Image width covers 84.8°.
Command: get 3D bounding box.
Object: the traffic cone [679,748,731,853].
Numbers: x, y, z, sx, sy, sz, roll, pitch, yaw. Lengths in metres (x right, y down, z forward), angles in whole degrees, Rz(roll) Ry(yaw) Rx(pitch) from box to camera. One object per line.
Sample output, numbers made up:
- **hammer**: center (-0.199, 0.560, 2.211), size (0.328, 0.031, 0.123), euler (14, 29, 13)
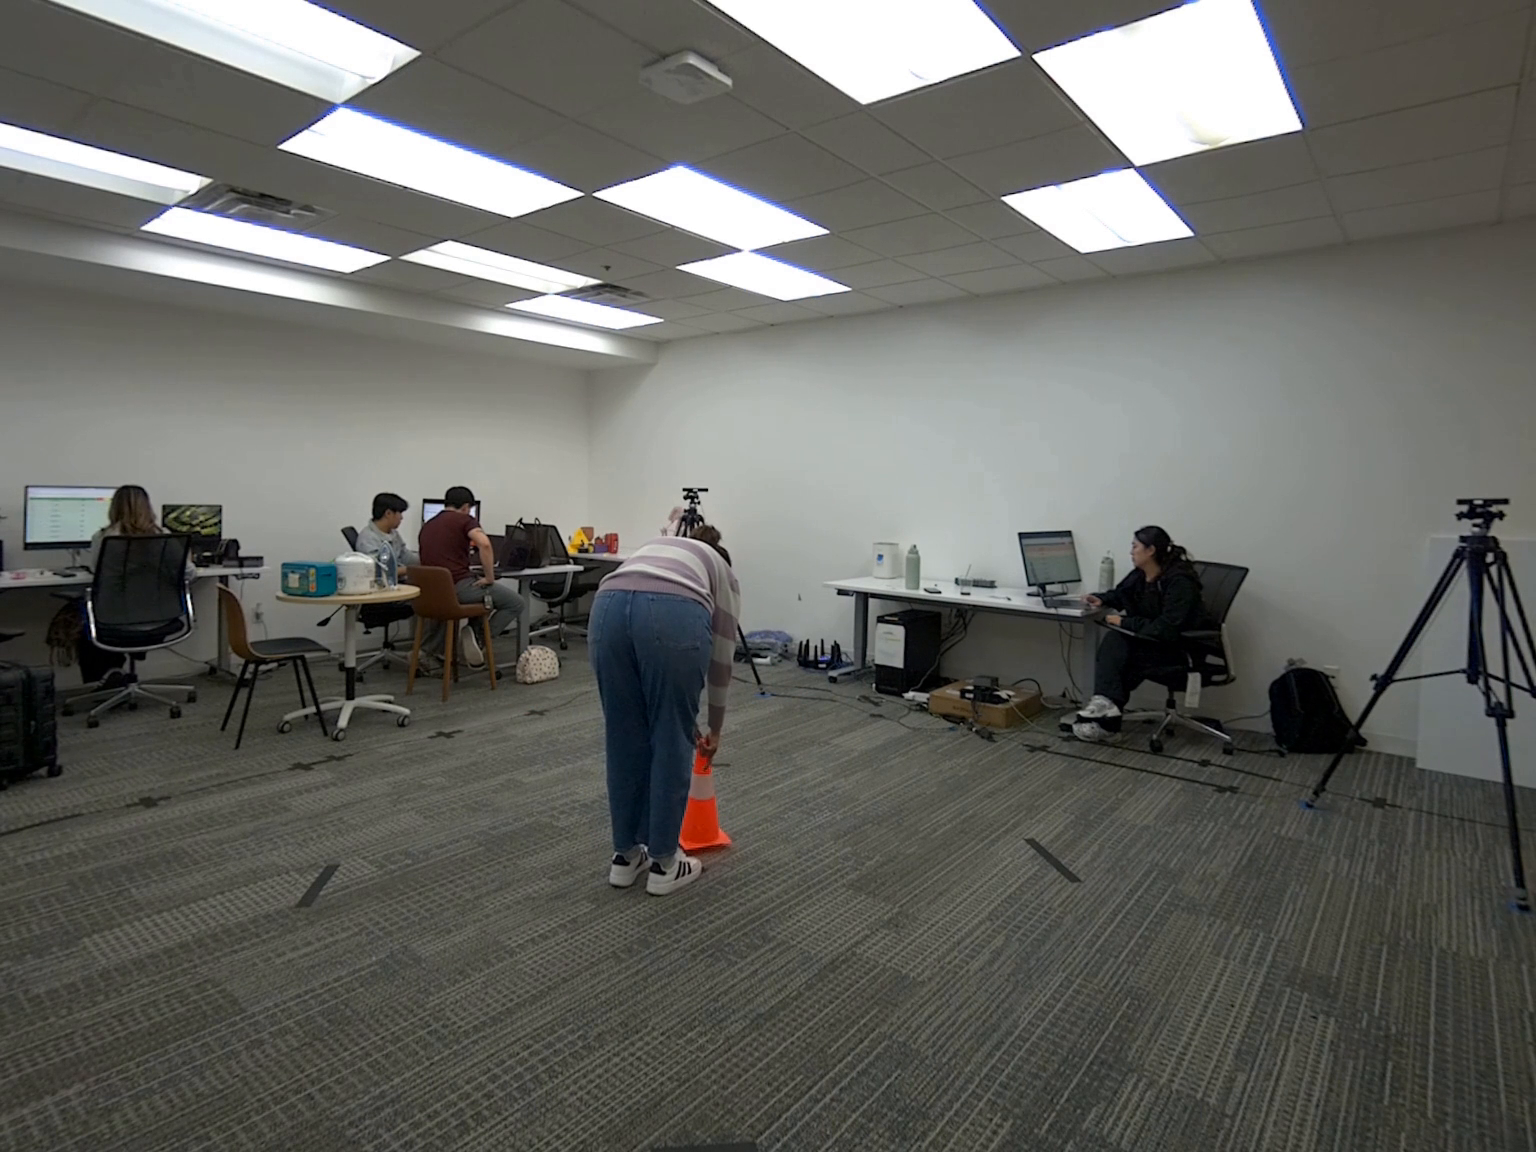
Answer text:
- **traffic cone**: center (-0.270, 0.827, 3.315), size (0.199, 0.381, 0.210), euler (-3, 9, -34)
